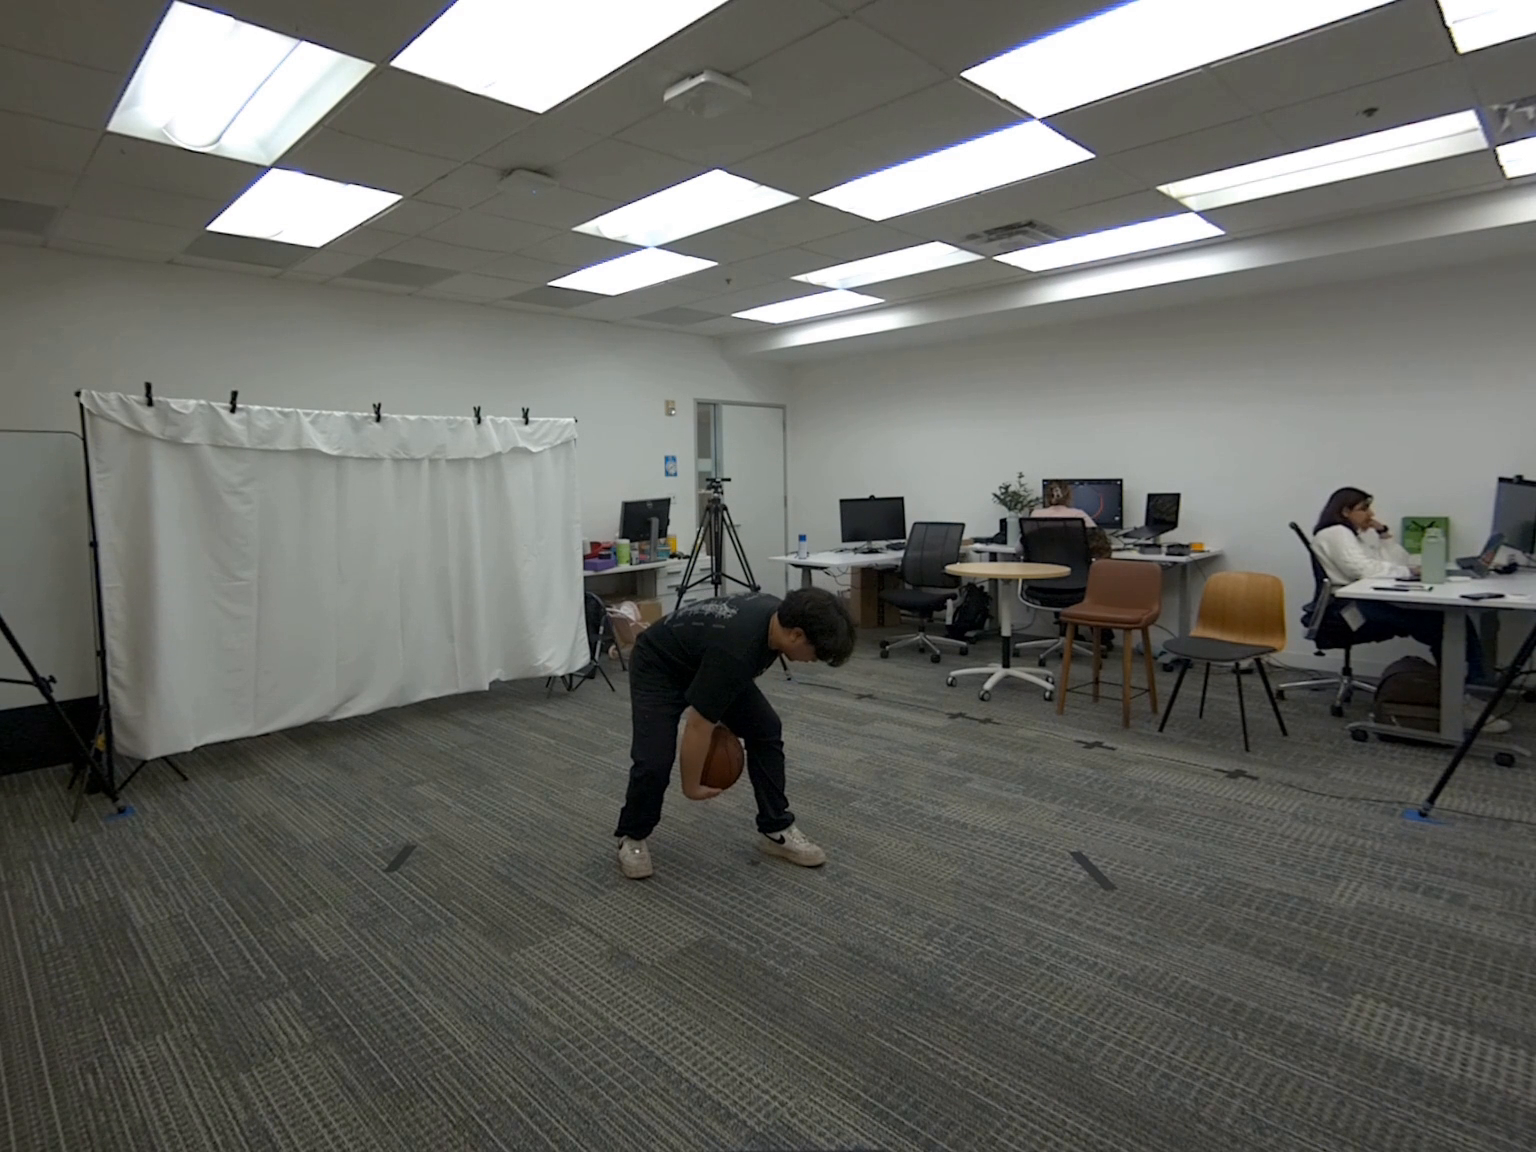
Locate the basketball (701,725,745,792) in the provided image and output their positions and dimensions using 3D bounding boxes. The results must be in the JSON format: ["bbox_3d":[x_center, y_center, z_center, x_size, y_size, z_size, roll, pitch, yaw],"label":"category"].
[{"bbox_3d":[-0.203,0.668,3.133,0.236,0.235,0.237,-1,5,-2],"label":"basketball"}]
